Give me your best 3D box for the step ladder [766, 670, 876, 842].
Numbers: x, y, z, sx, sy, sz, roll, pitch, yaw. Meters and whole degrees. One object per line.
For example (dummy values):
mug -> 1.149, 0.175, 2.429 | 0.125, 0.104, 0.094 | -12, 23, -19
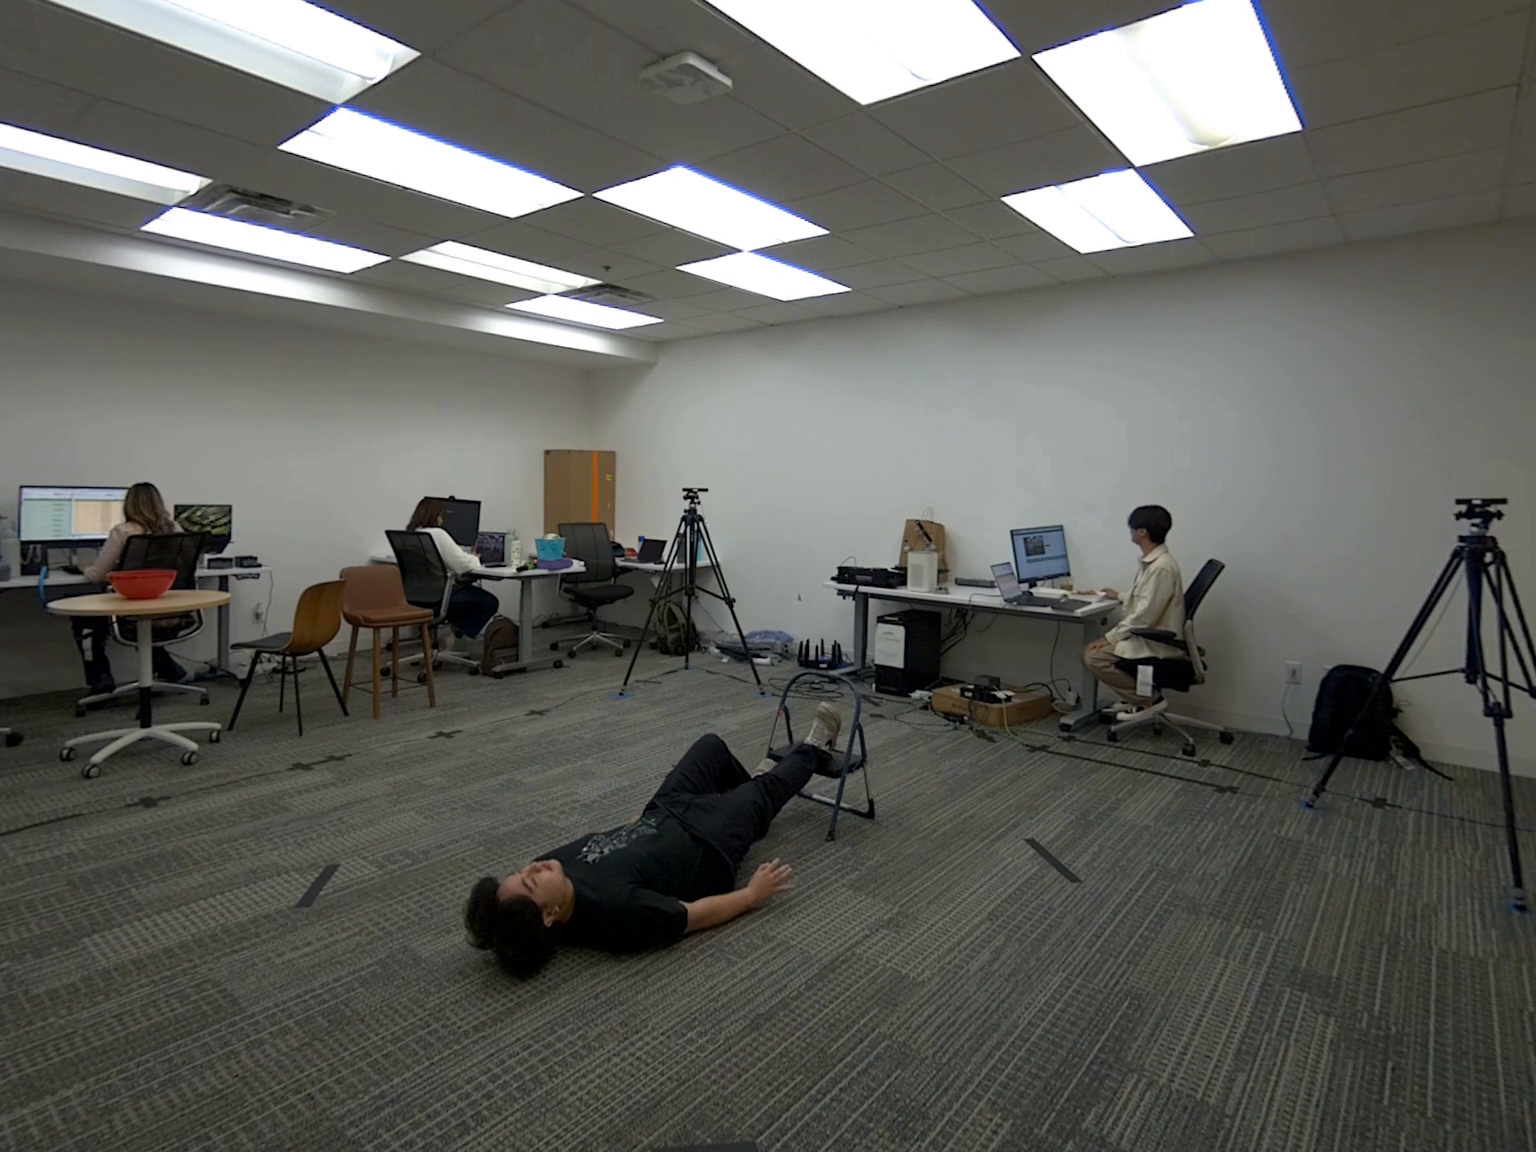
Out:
step ladder -> 0.197, 0.727, 3.640 | 0.445, 0.604, 0.339 | 4, 5, 40
